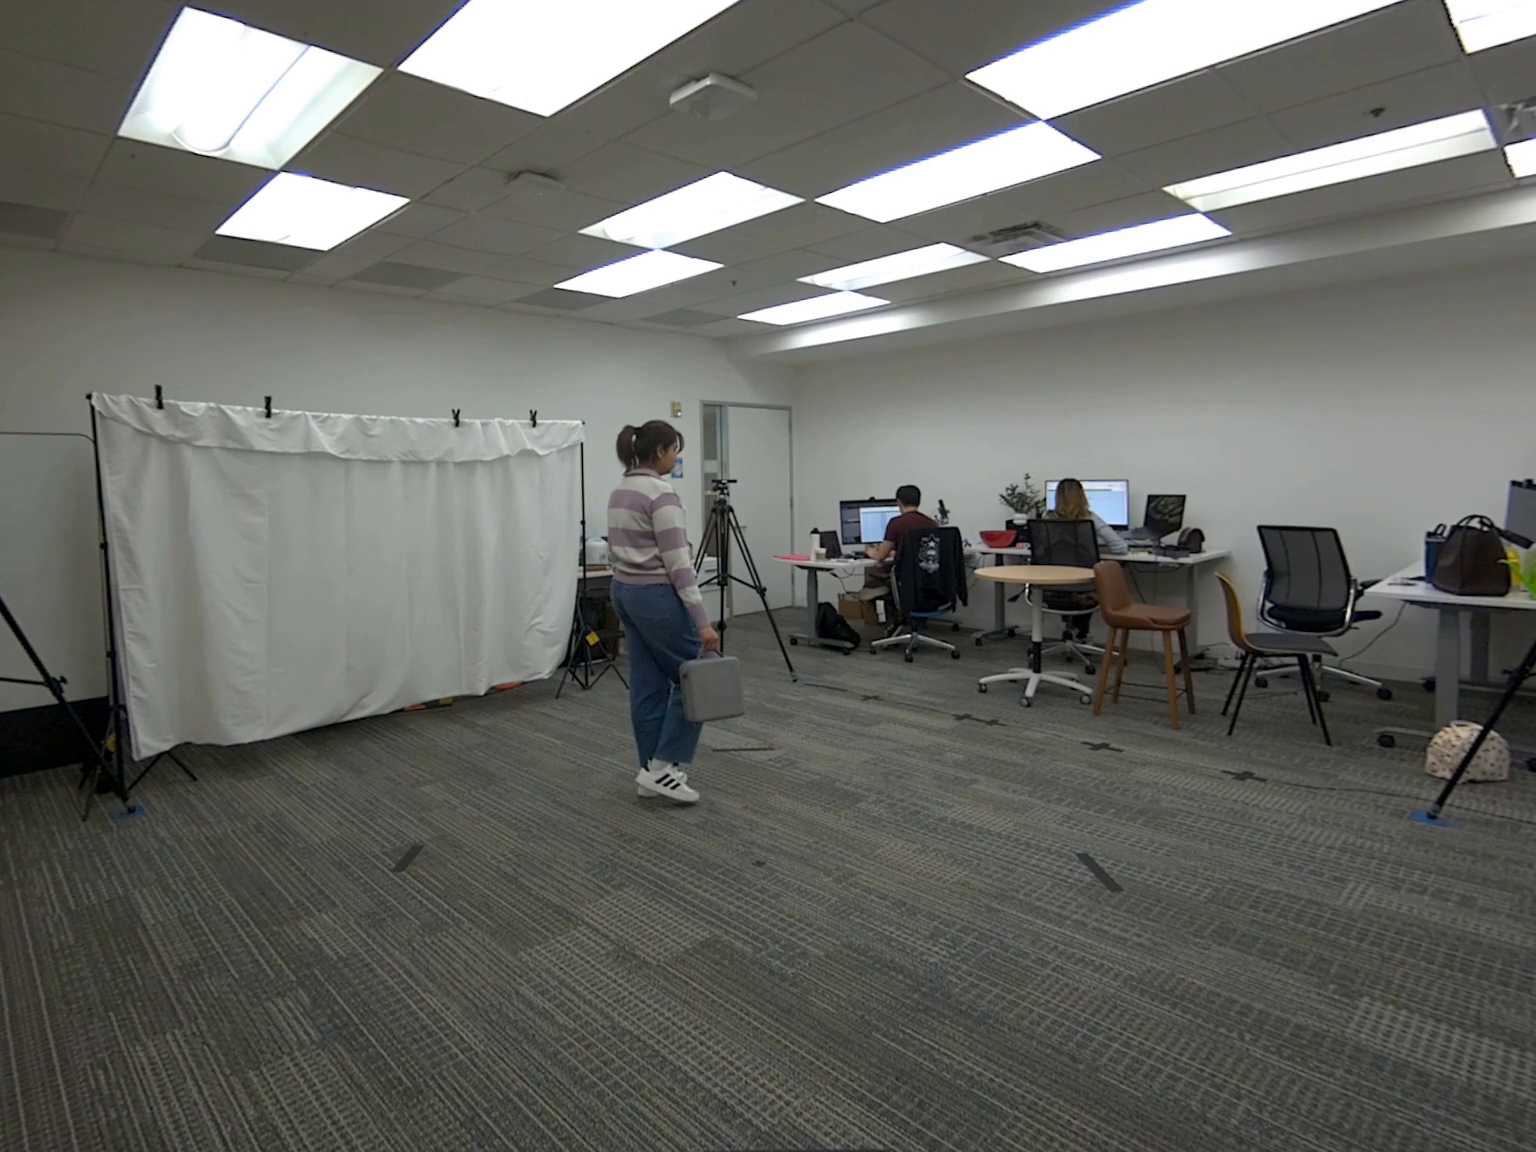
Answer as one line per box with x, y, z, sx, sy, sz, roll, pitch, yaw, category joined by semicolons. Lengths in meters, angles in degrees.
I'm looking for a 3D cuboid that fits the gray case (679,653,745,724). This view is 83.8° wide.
-0.236;0.464;3.565;0.252;0.262;0.106;-4;-4;-24;gray case
